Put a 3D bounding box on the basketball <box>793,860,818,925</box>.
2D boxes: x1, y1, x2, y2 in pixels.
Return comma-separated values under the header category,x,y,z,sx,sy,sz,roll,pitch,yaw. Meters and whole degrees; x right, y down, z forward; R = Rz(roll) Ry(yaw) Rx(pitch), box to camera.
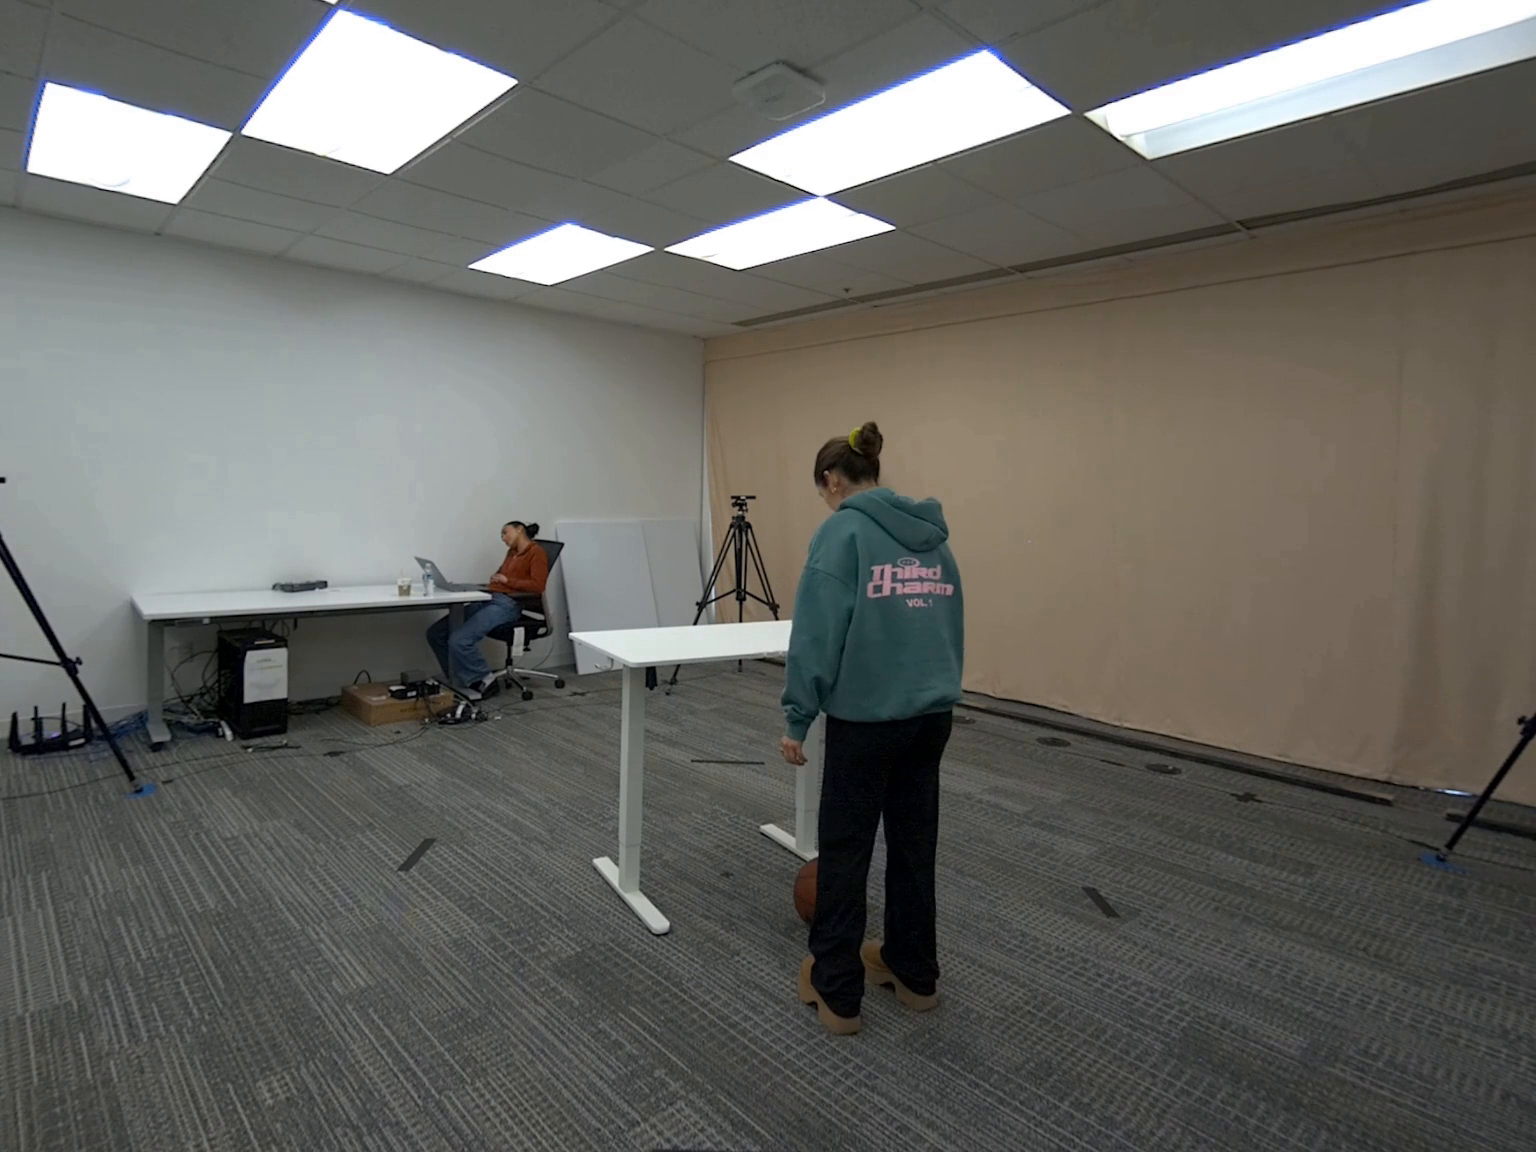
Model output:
category,x,y,z,sx,sy,sz,roll,pitch,yaw
basketball,0.200,1.037,2.704,0.236,0.235,0.237,1,4,-1
